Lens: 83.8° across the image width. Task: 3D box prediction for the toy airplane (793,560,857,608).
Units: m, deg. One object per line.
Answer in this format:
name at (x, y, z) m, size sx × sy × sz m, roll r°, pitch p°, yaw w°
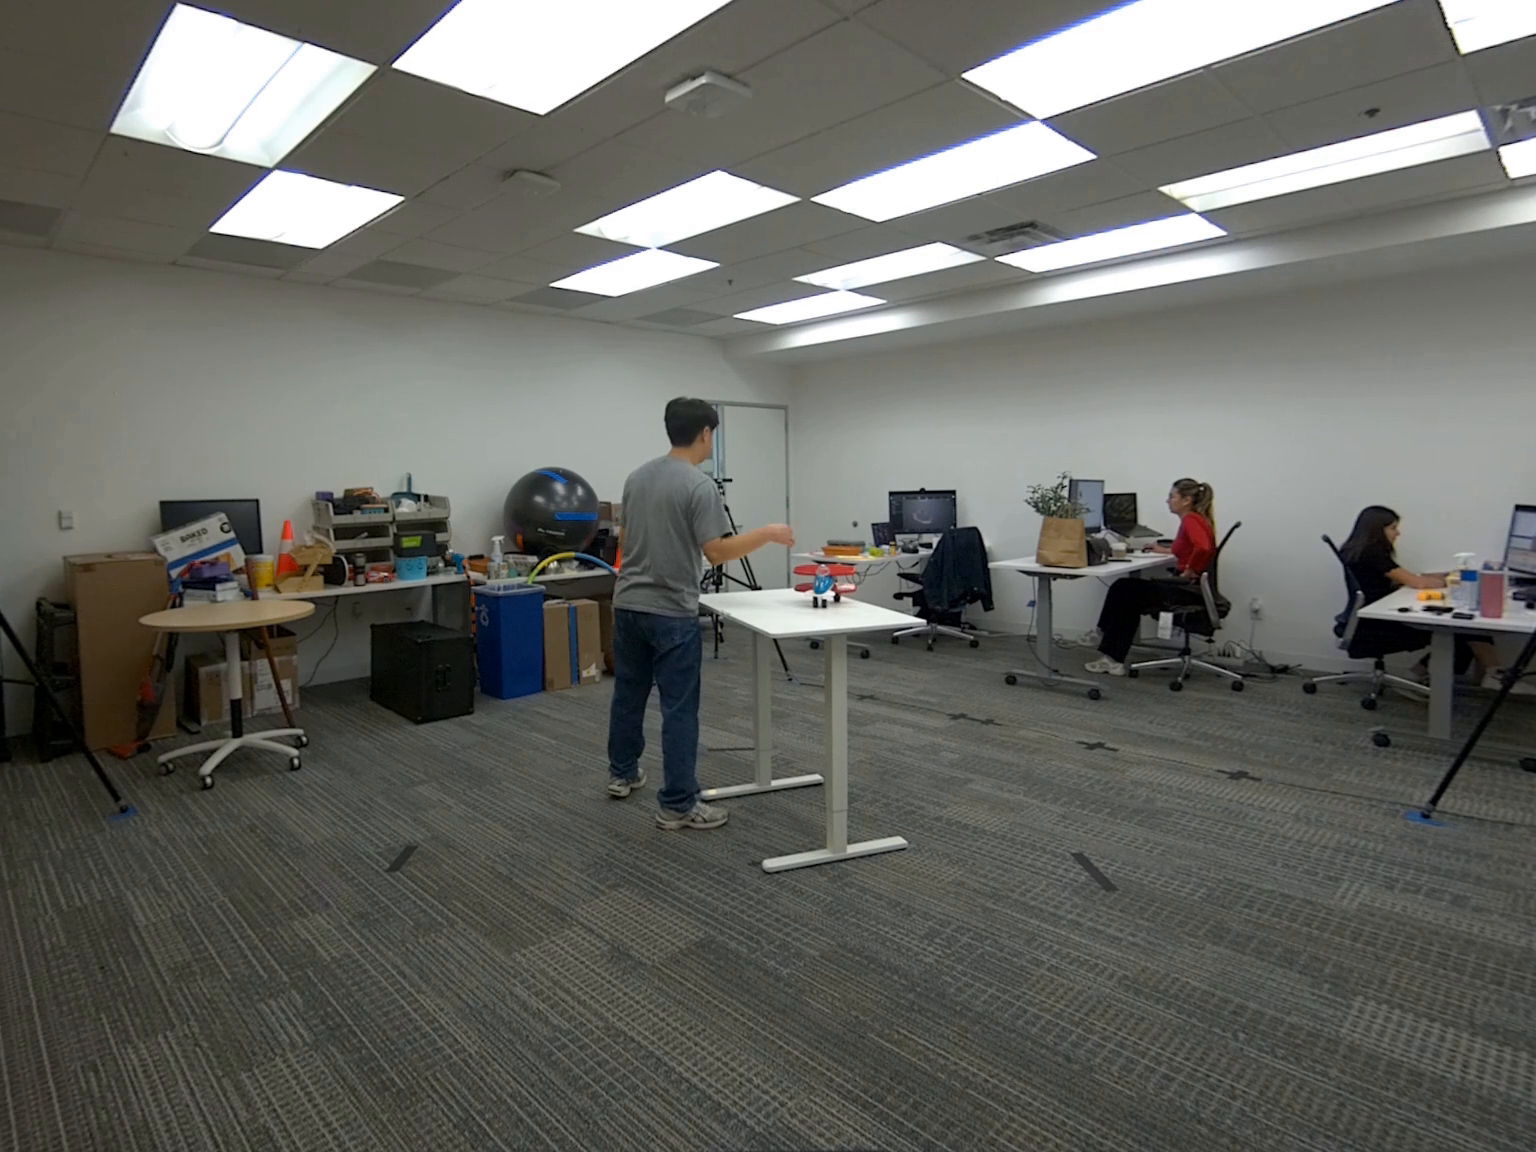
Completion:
toy airplane at (0.245, 0.038, 3.467) m, size 0.248 × 0.156 × 0.263 m, roll -3°, pitch 5°, yaw -14°
